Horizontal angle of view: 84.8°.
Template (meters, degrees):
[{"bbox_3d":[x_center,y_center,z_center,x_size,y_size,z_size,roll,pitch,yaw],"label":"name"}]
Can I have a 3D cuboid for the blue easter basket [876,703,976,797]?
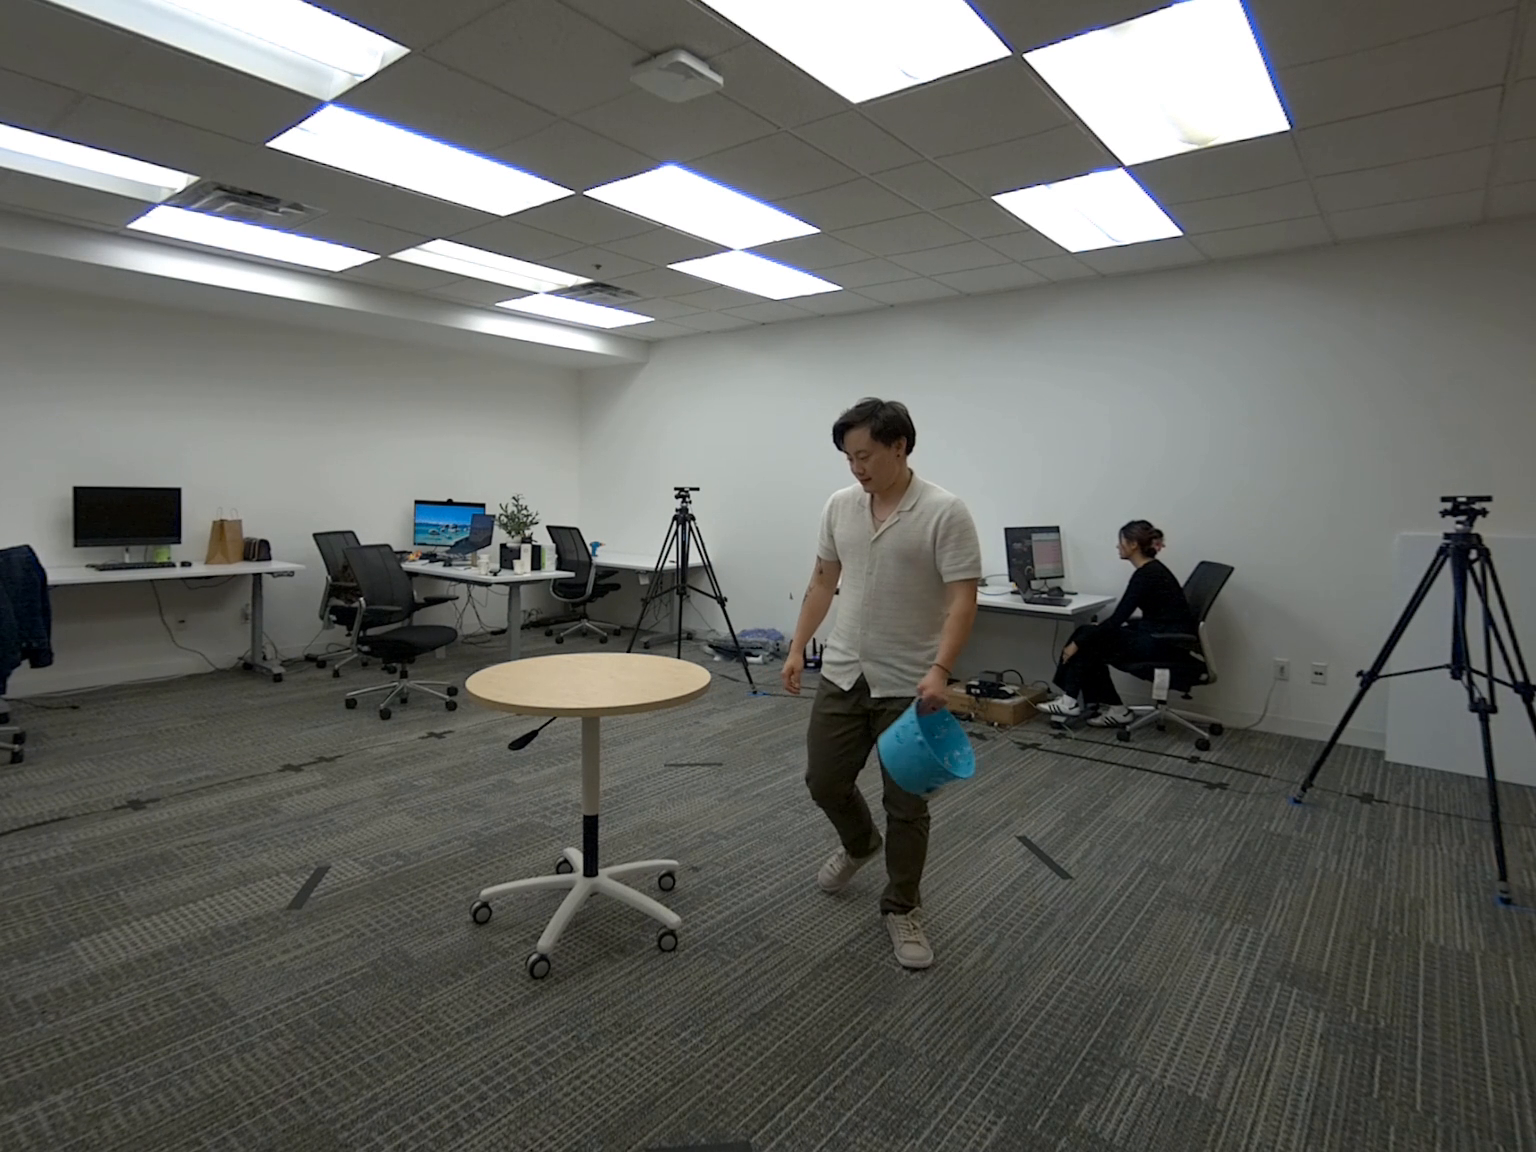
[{"bbox_3d":[0.401,0.449,2.280,0.156,0.249,0.237,-42,-19,28],"label":"blue easter basket"}]
